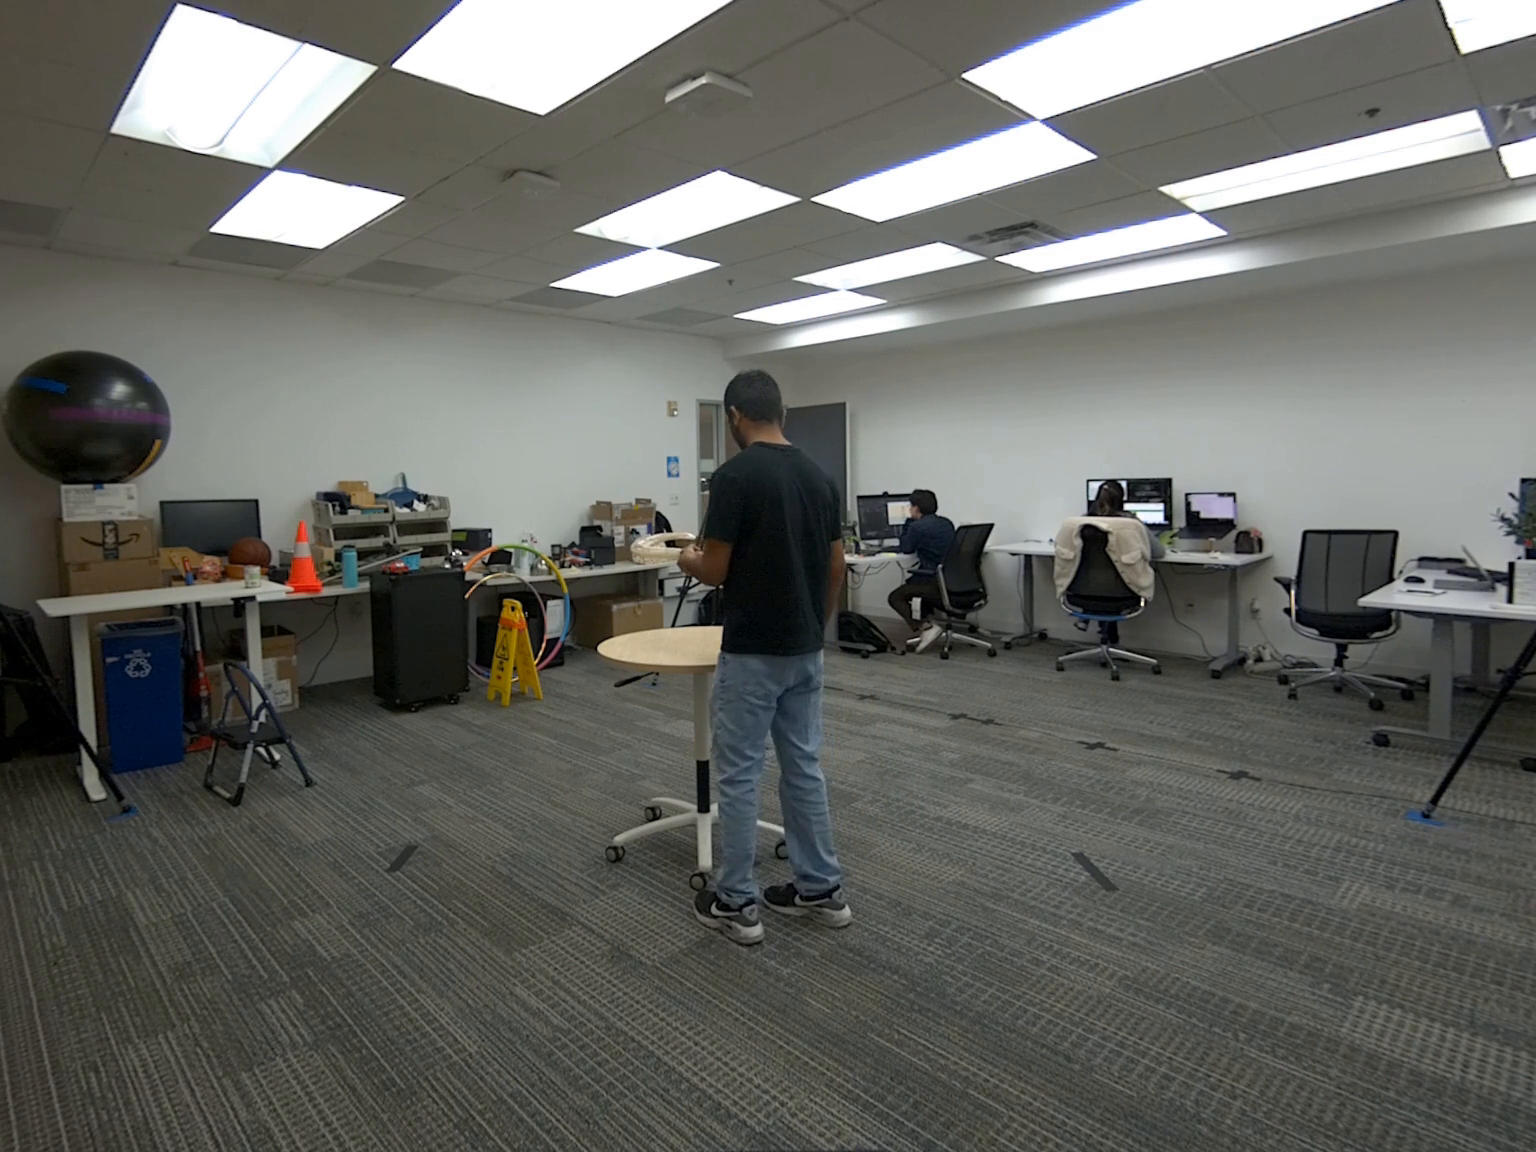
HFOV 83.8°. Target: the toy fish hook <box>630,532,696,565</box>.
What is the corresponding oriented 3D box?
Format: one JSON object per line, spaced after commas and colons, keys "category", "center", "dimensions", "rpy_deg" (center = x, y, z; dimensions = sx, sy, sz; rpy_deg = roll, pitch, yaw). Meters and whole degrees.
{"category": "toy fish hook", "center": [-0.279, -0.098, 3.007], "dimensions": [0.524, 0.047, 0.222], "rpy_deg": [11, 35, 45]}
